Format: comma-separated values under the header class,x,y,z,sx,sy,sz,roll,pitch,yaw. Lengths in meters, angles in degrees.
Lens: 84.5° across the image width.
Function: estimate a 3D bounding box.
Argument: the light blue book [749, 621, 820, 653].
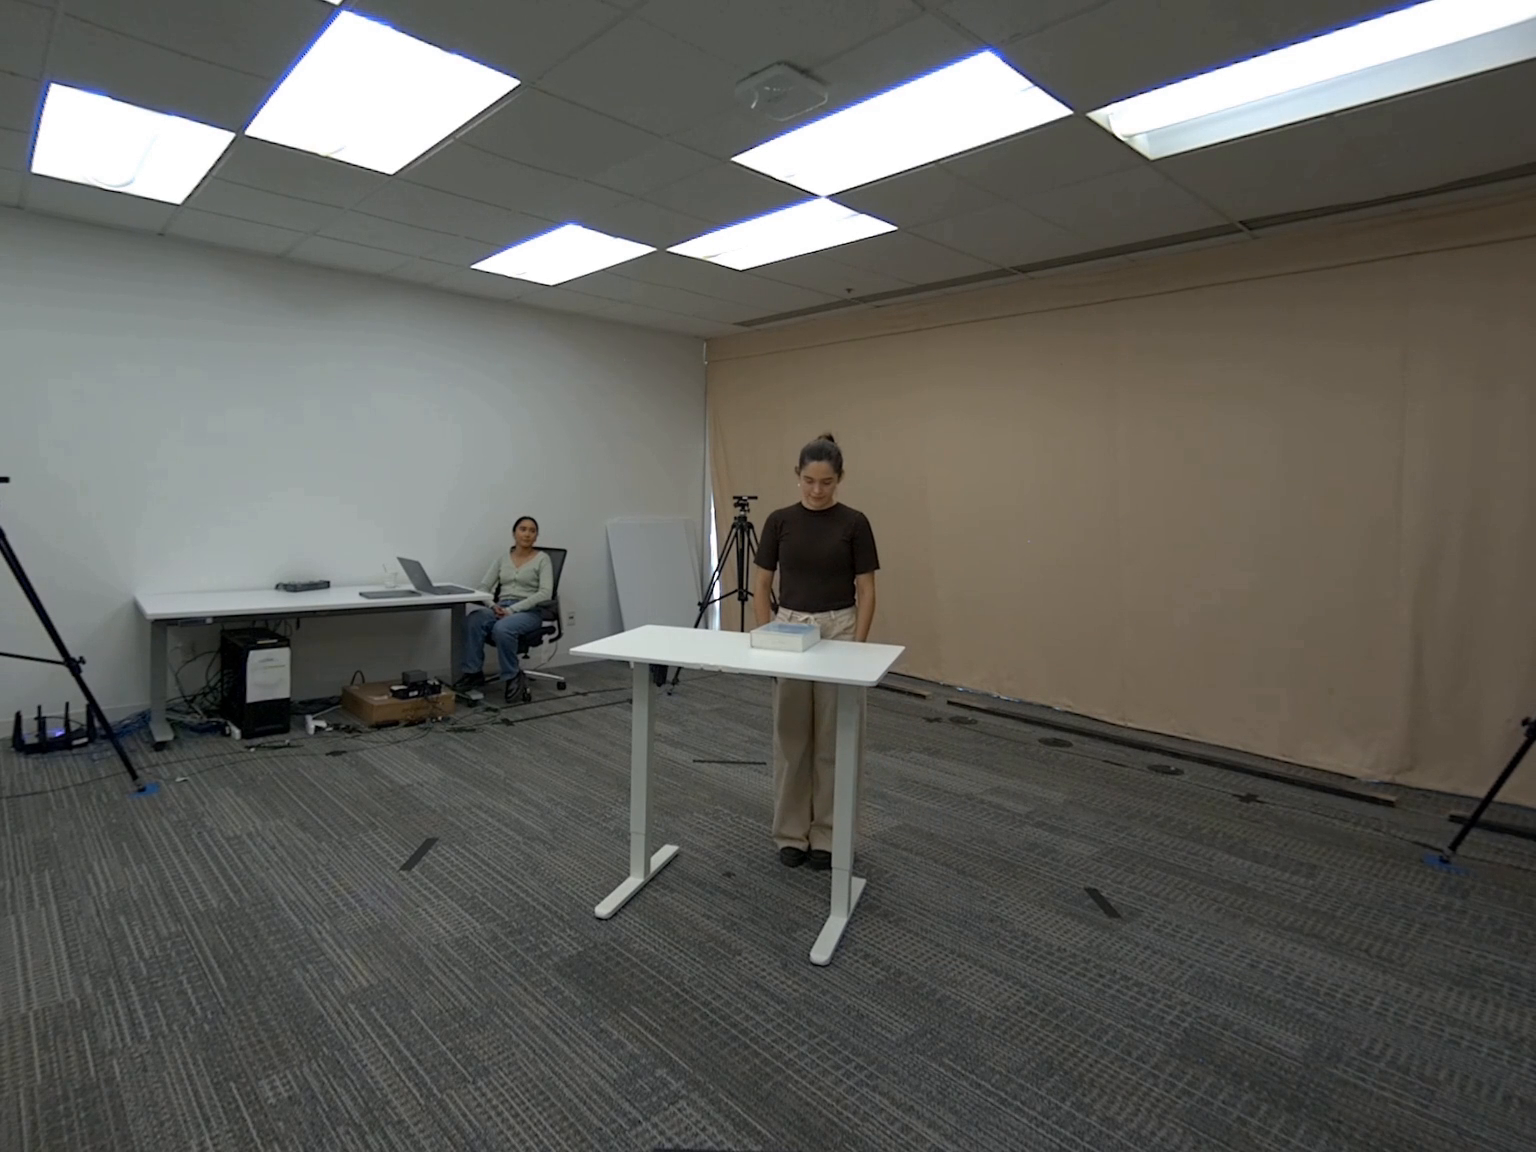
class,x,y,z,sx,sy,sz,roll,pitch,yaw
light blue book,0.071,0.211,2.950,0.194,0.059,0.258,4,6,18
